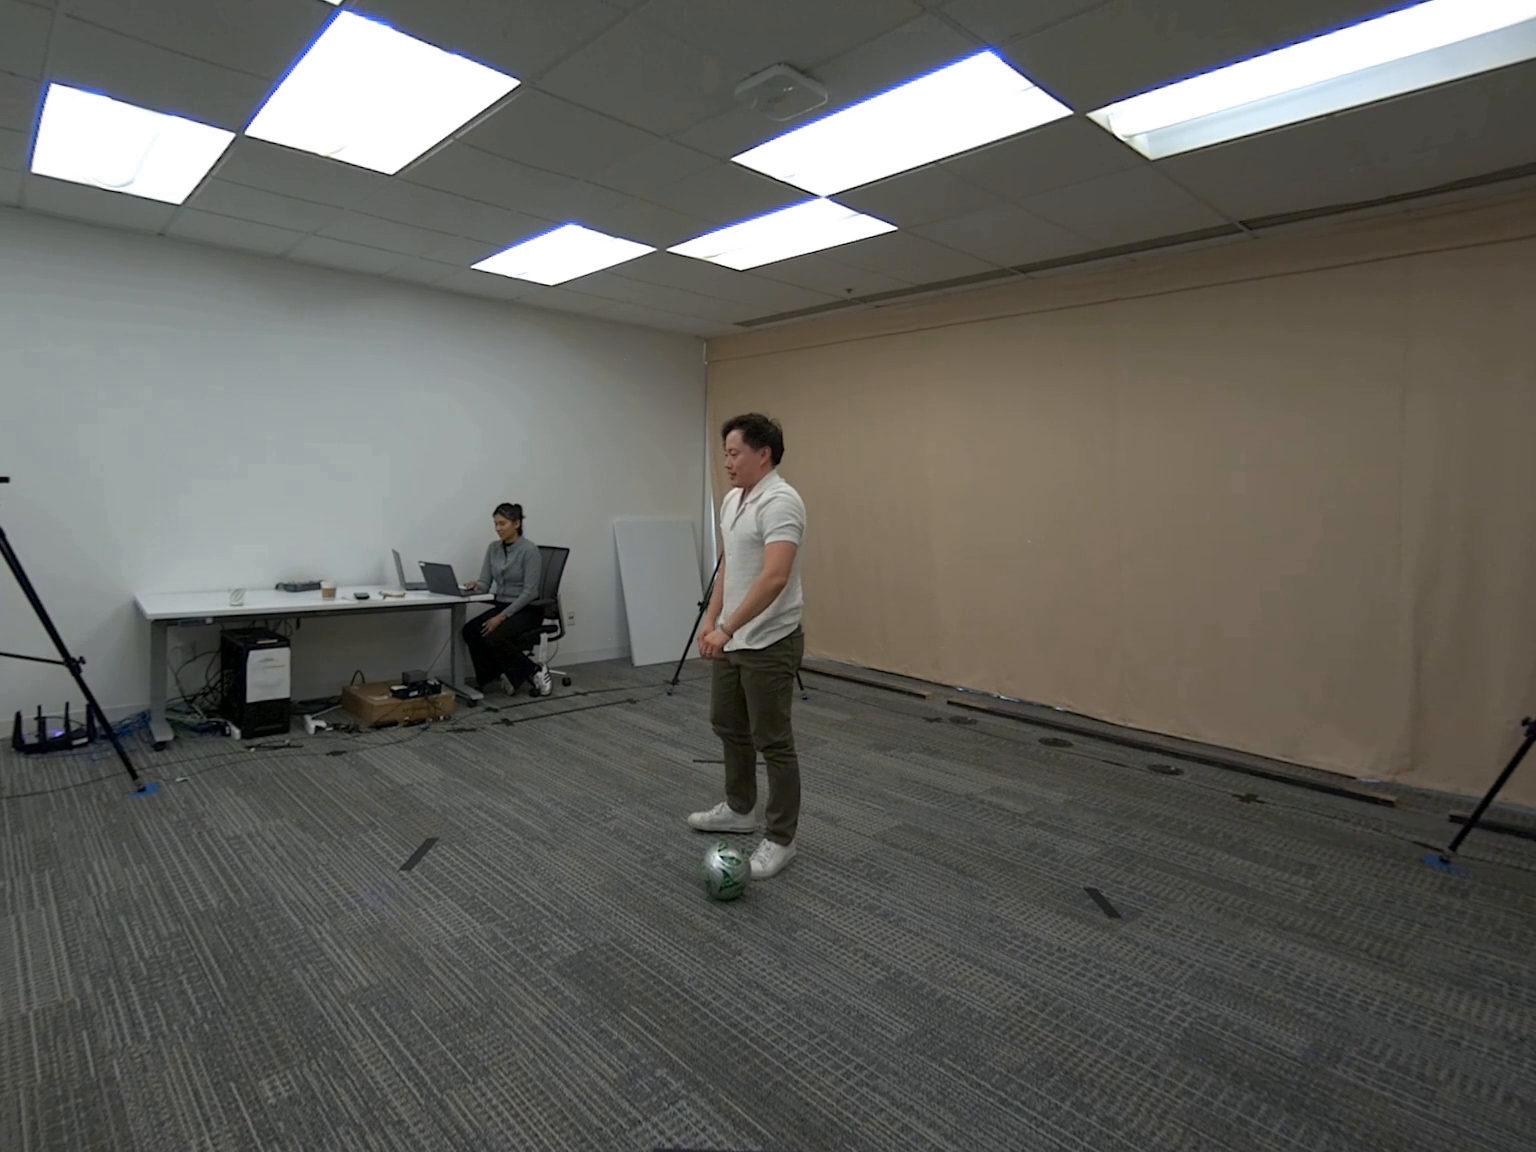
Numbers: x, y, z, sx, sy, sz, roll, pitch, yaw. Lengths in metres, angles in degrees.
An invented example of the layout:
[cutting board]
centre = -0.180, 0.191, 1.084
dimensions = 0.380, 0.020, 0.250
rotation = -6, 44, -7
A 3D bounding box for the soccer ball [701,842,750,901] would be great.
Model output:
[soccer ball]
centre = -0.165, 1.030, 2.930
dimensions = 0.187, 0.187, 0.188
rotation = 1, 4, -1
